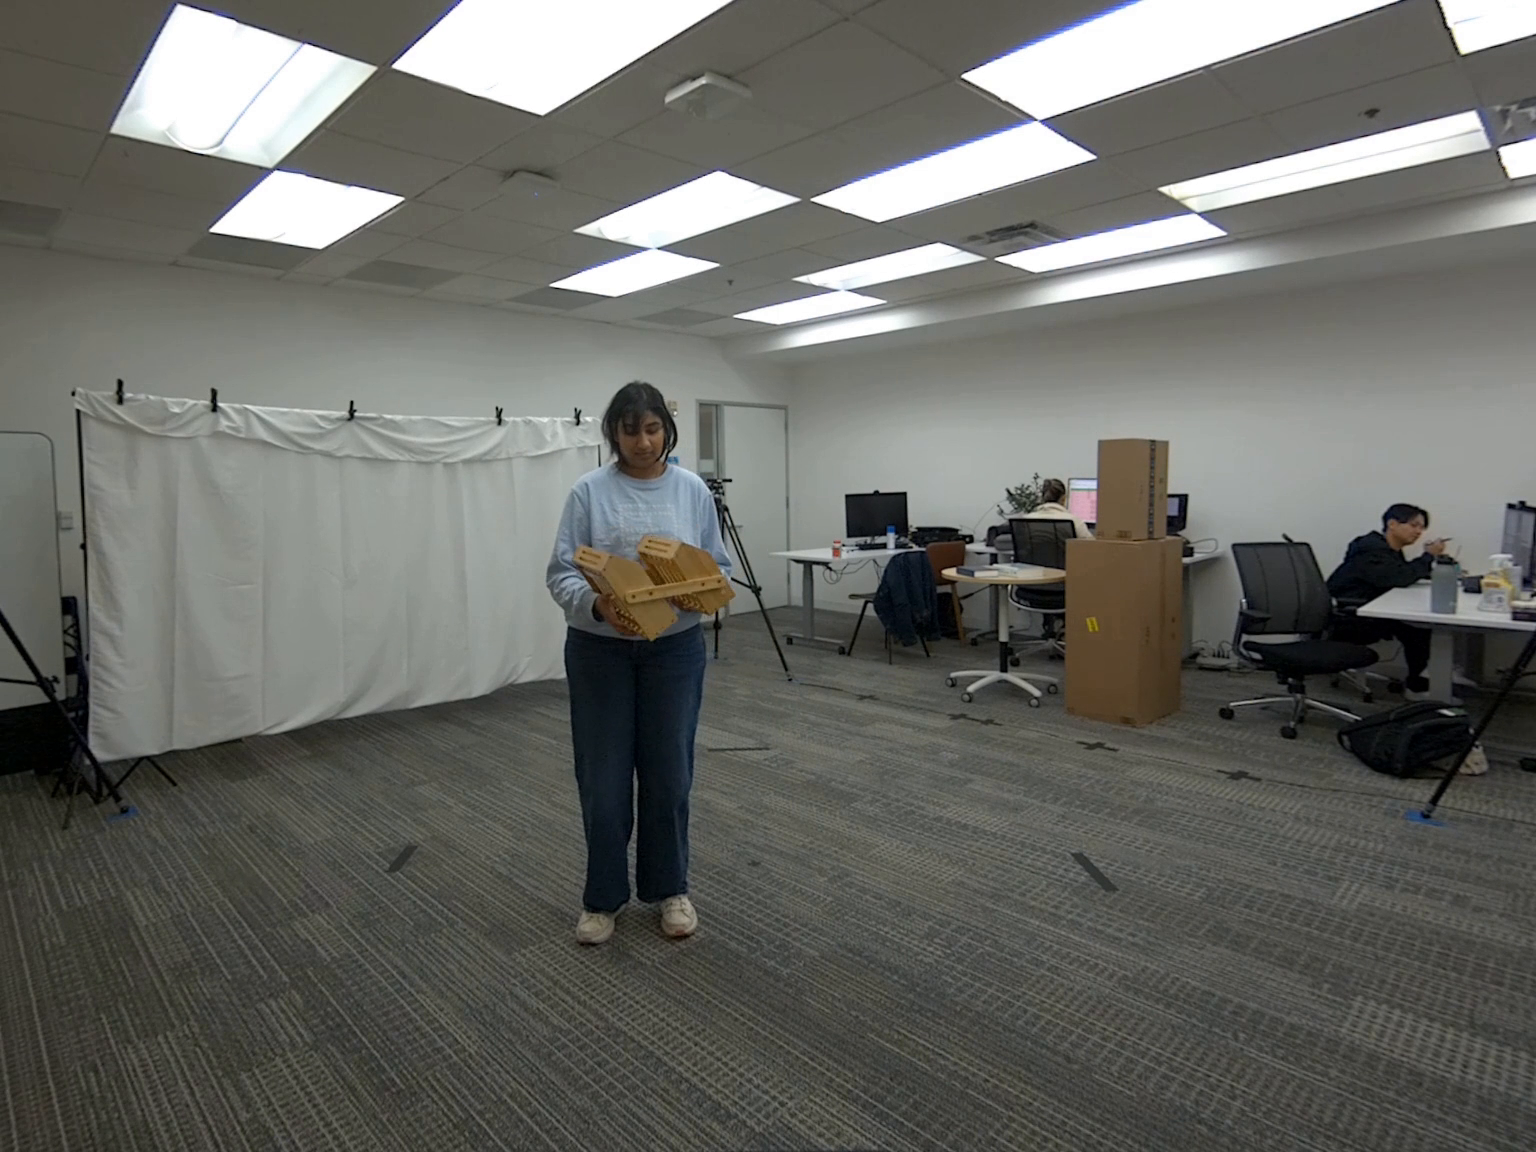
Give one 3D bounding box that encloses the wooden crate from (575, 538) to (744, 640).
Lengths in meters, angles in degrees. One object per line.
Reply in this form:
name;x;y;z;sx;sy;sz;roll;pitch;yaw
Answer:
wooden crate;-0.319;-0.003;2.341;0.272;0.295;0.333;-39;21;-18
